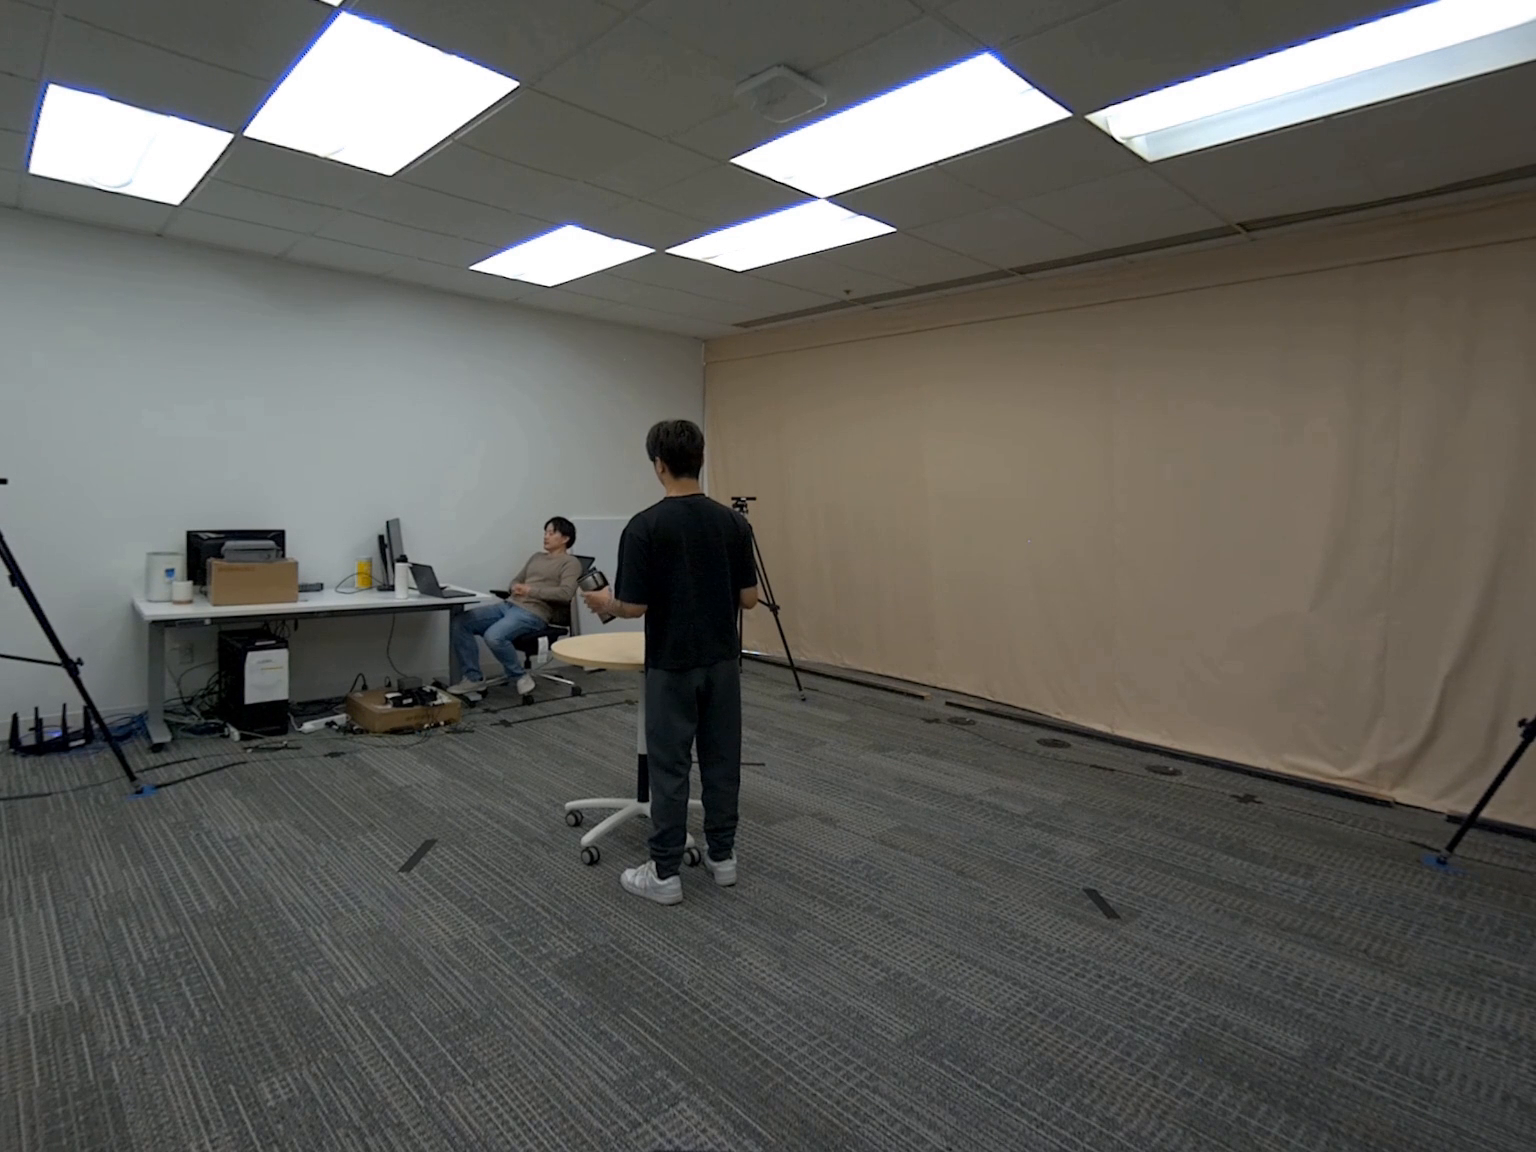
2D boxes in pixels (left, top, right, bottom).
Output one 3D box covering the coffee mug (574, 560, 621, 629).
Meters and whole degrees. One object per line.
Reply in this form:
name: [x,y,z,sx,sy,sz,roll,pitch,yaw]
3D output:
coffee mug: [-0.598,0.066,3.120,0.089,0.202,0.121,-29,4,39]
